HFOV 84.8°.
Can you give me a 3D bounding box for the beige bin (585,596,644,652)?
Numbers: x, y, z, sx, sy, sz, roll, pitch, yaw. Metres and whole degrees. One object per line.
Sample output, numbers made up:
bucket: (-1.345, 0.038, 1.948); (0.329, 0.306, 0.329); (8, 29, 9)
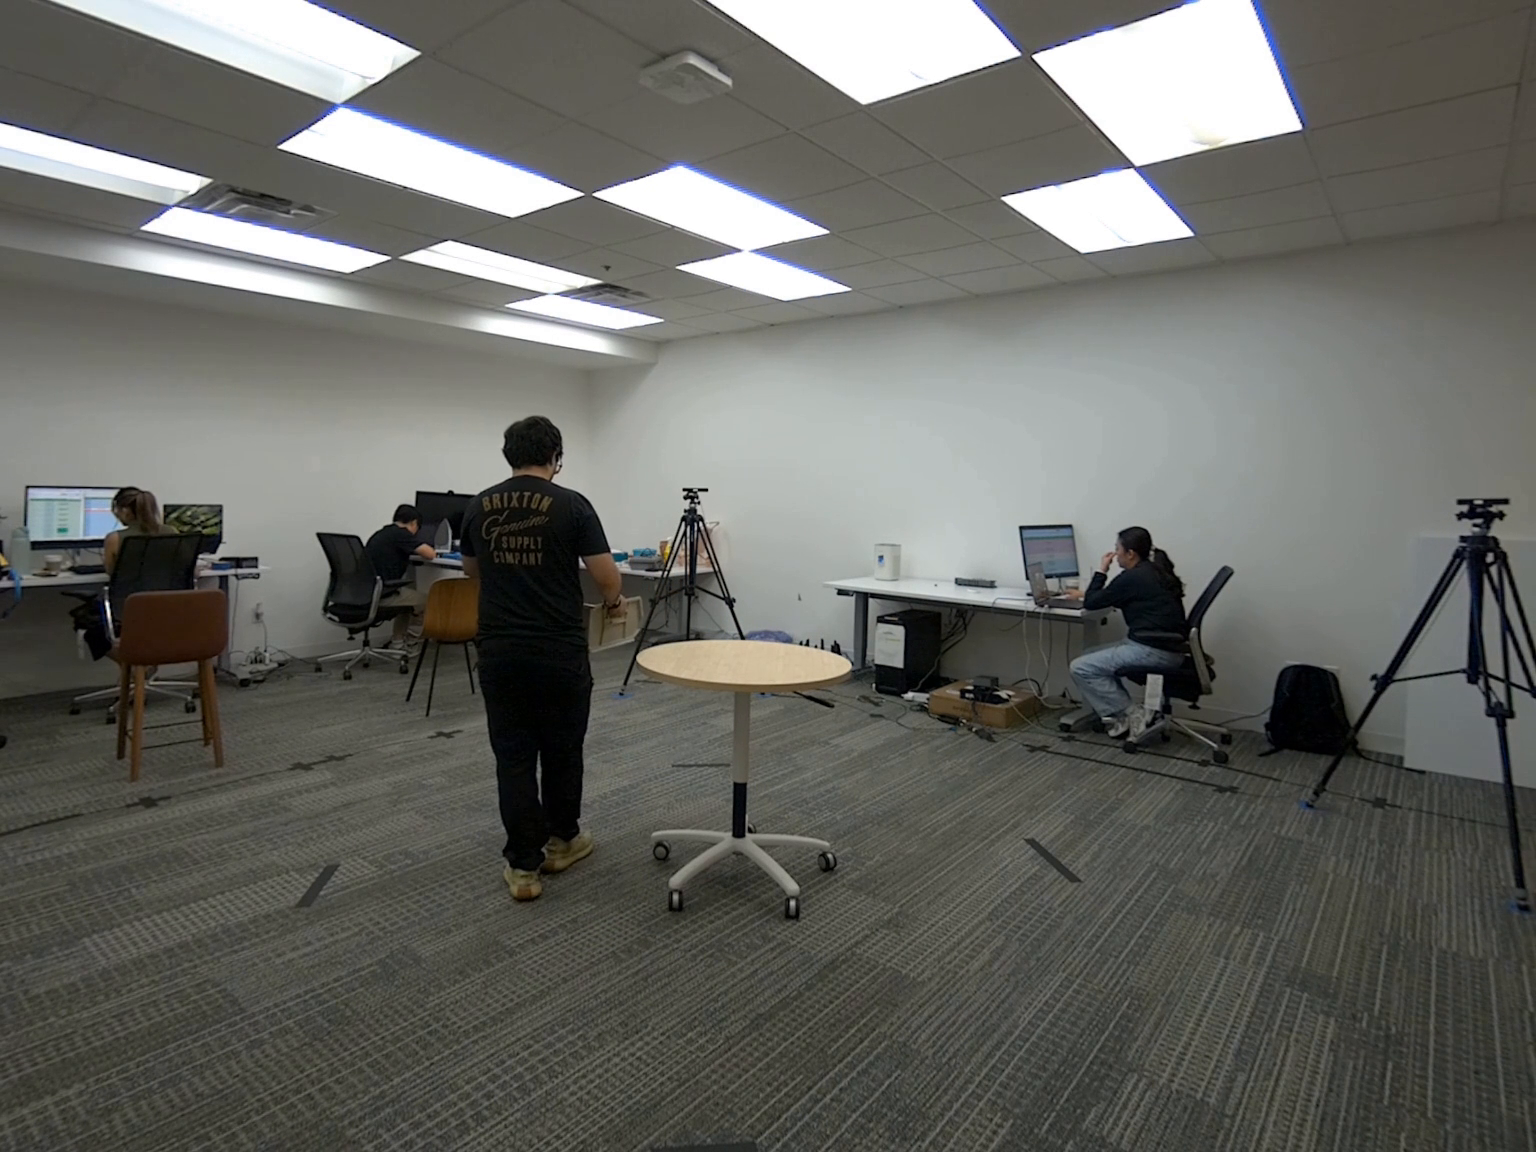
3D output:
beige bin: (-0.771, 0.152, 3.352); (0.434, 0.188, 0.370); (8, 8, 23)
